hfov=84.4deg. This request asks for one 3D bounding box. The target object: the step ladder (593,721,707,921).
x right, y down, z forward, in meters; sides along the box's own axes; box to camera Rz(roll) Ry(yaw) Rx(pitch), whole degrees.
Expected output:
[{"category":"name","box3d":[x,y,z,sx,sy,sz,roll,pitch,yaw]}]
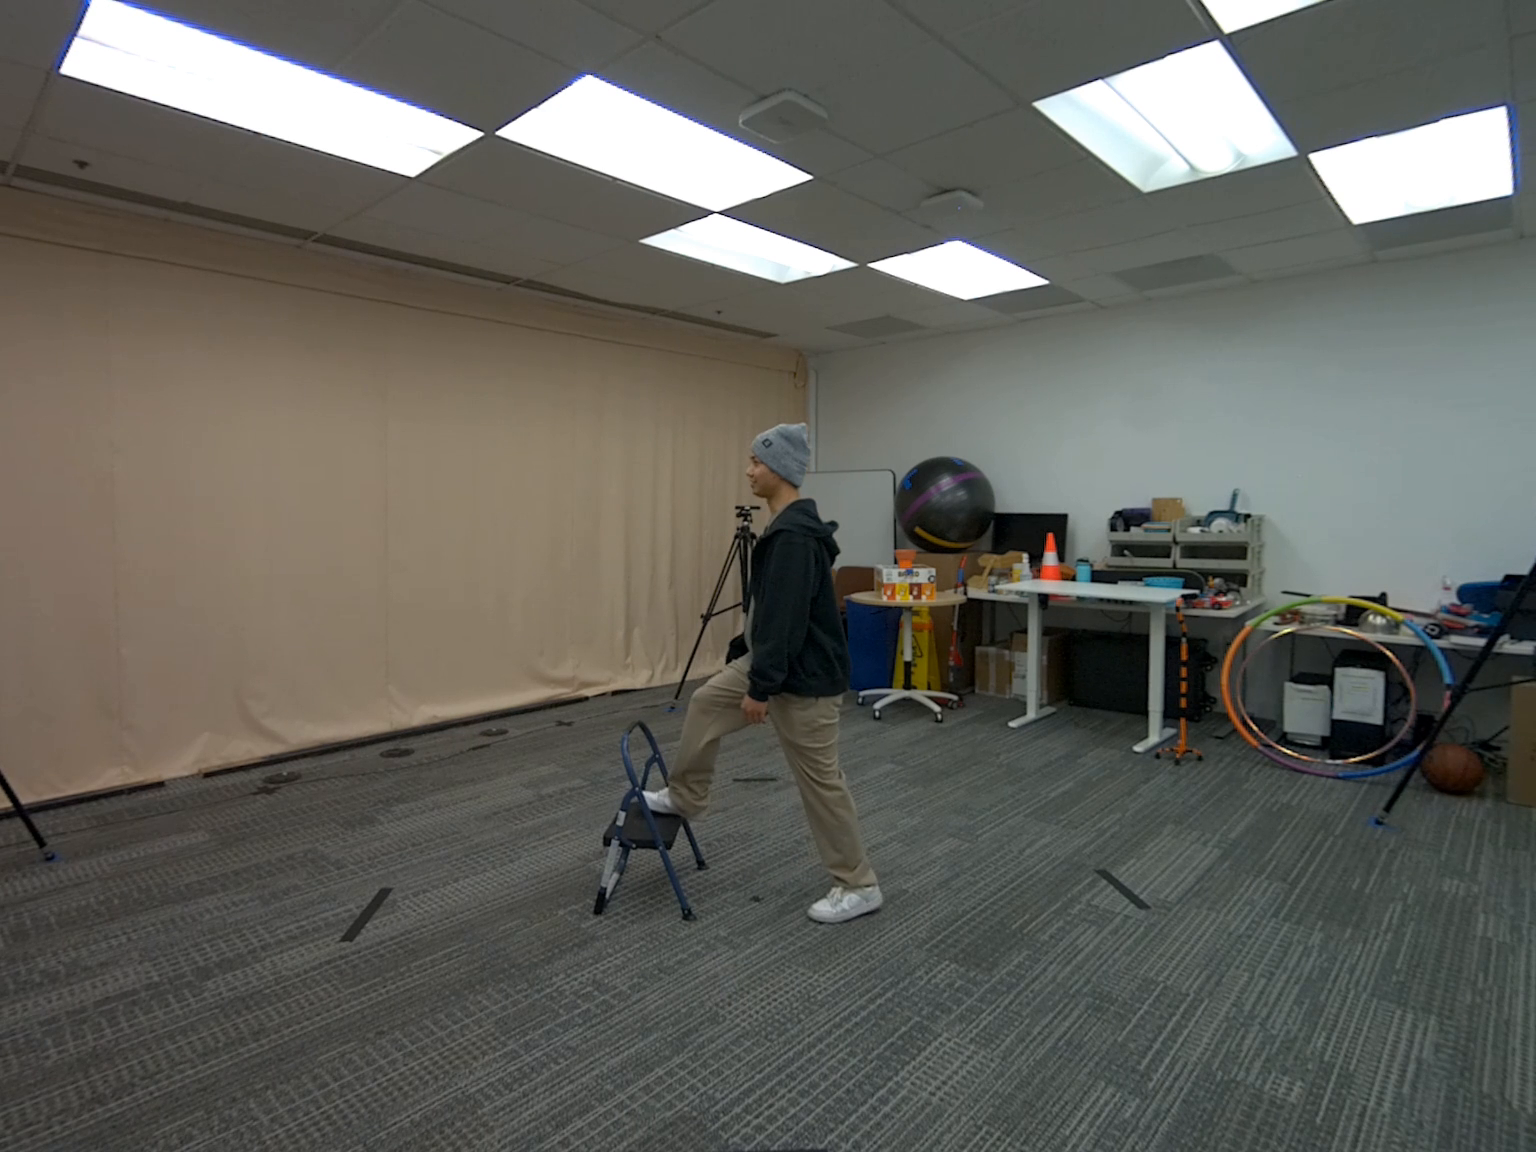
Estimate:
[{"category":"step ladder","box3d":[-0.420,0.842,3.046,0.351,0.605,0.429,0,3,3]}]
